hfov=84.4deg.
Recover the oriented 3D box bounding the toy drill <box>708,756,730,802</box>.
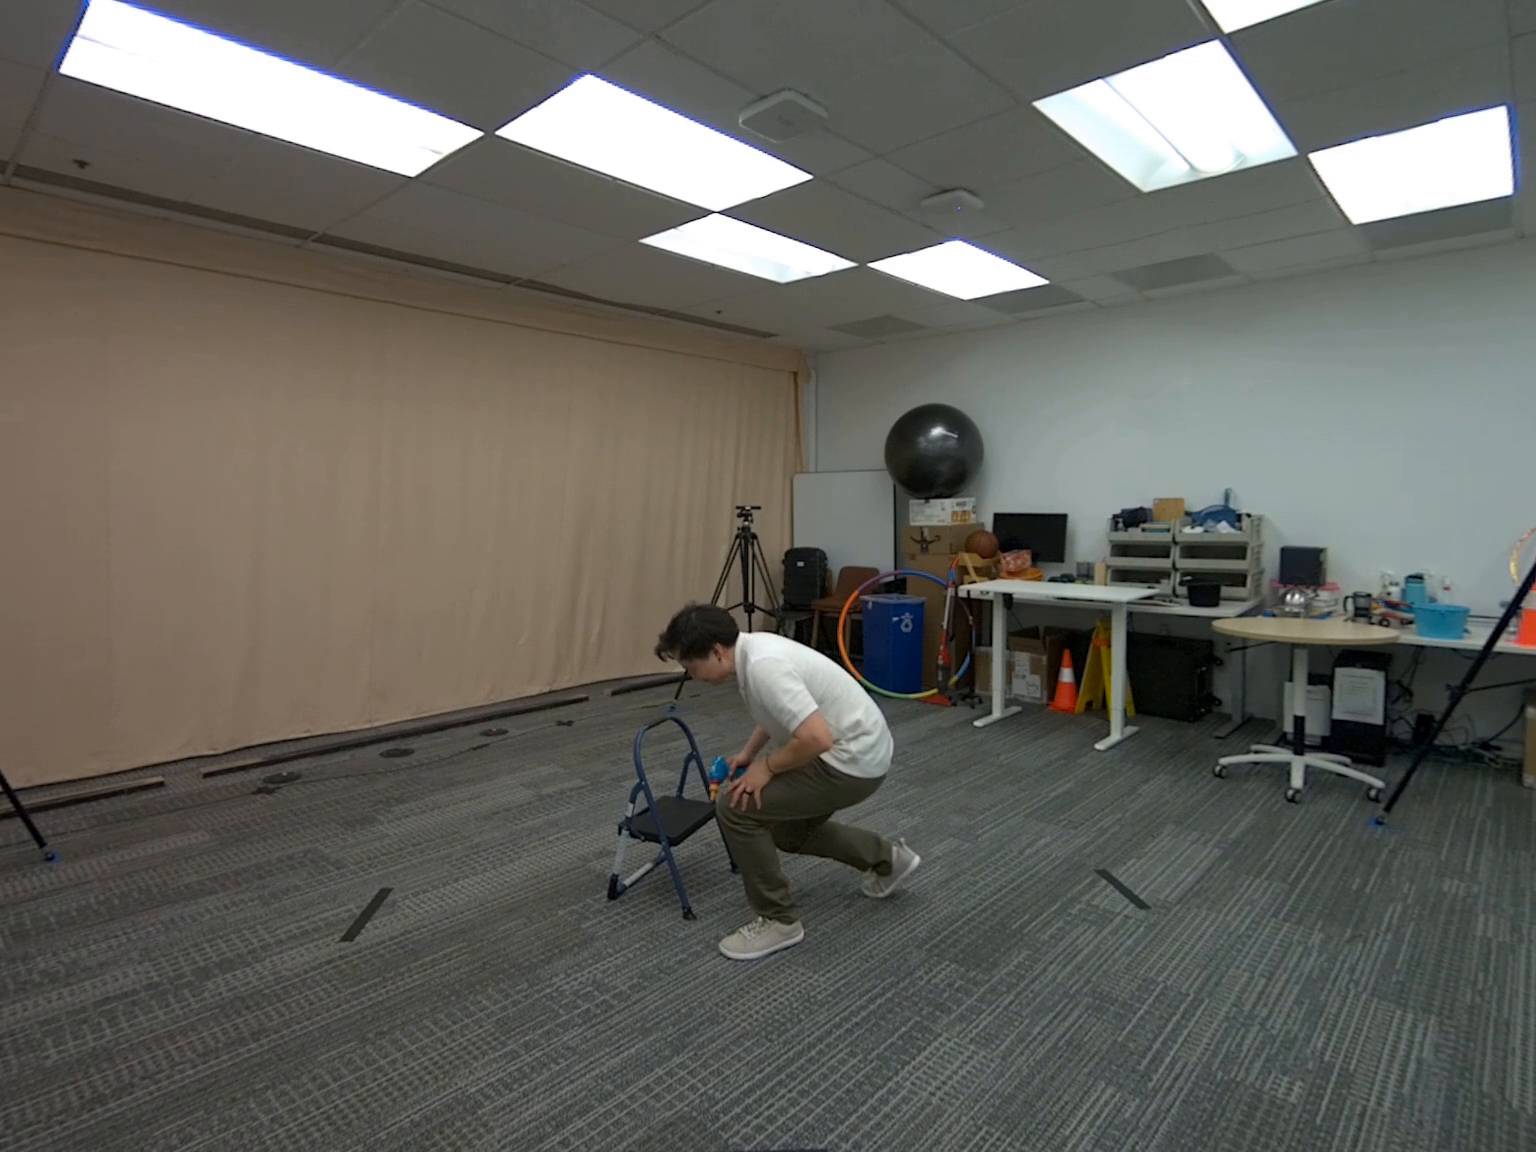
[{"bbox_3d":[-0.140,0.708,2.995,0.146,0.172,0.060,8,-31,1],"label":"toy drill"}]
